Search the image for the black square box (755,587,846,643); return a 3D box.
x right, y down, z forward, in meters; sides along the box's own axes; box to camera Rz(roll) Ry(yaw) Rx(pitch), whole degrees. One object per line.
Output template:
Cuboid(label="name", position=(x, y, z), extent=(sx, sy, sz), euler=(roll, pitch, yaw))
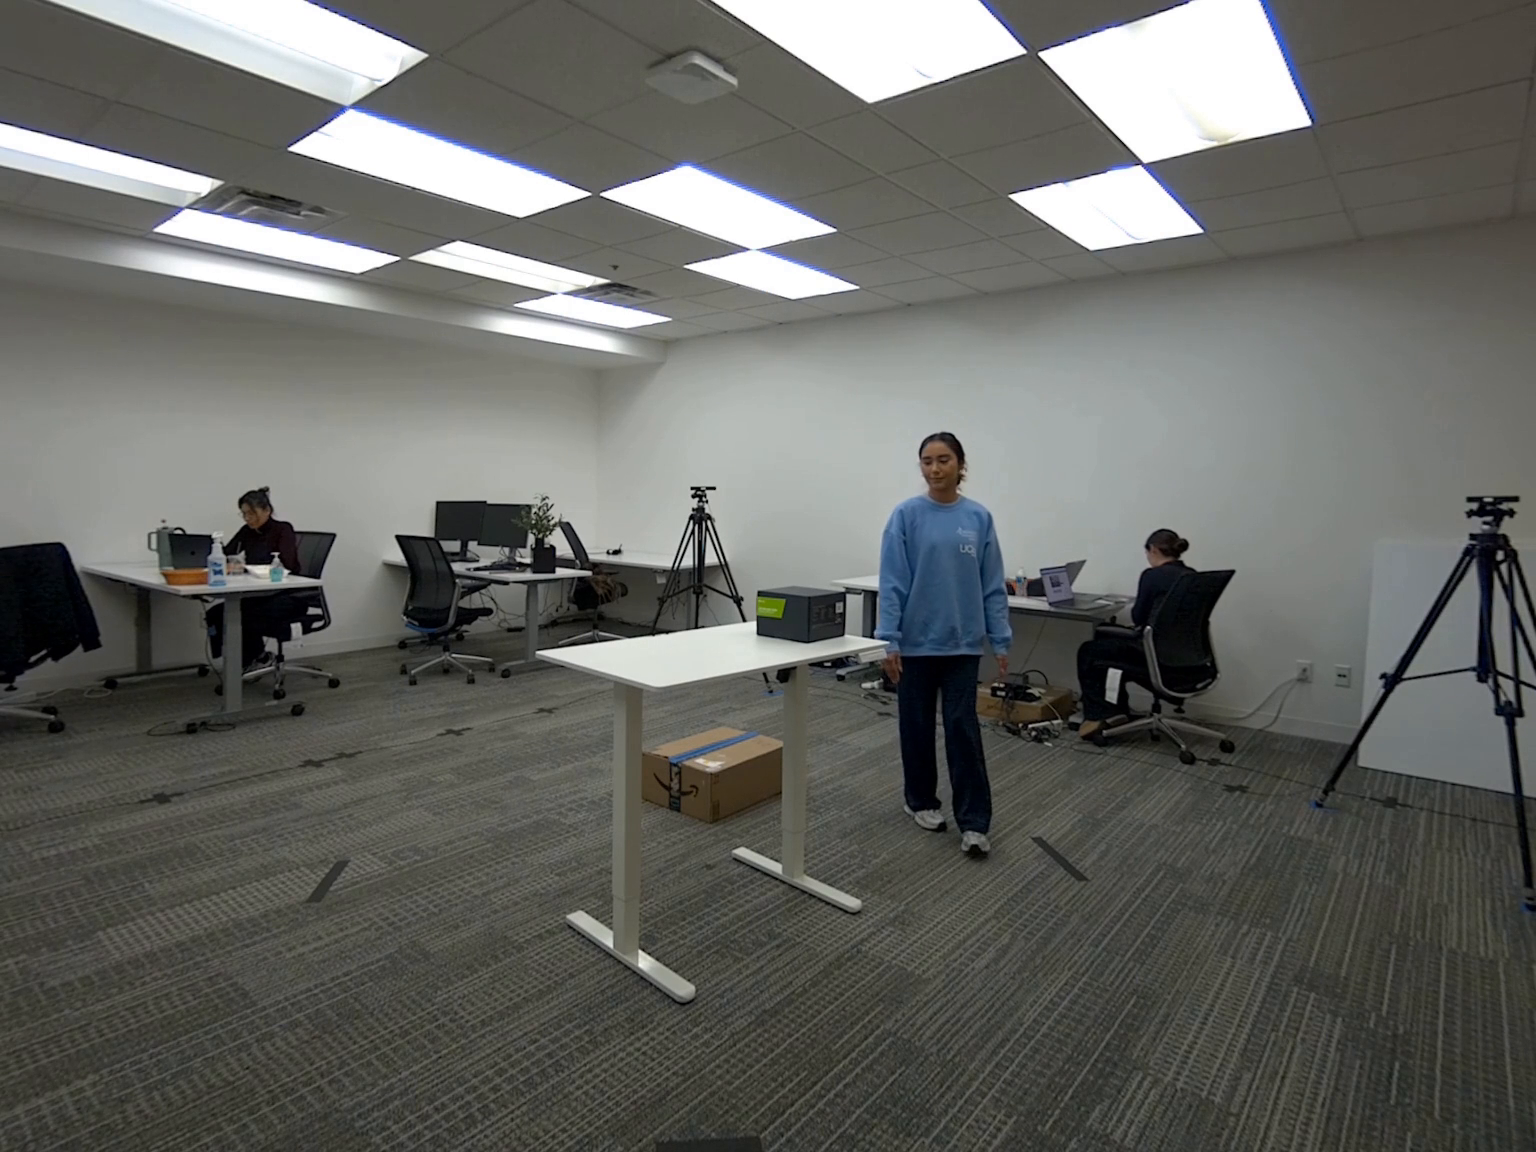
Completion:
Cuboid(label="black square box", position=(0.105, 0.125, 2.942), extent=(0.235, 0.155, 0.210), euler=(5, 7, 41))
